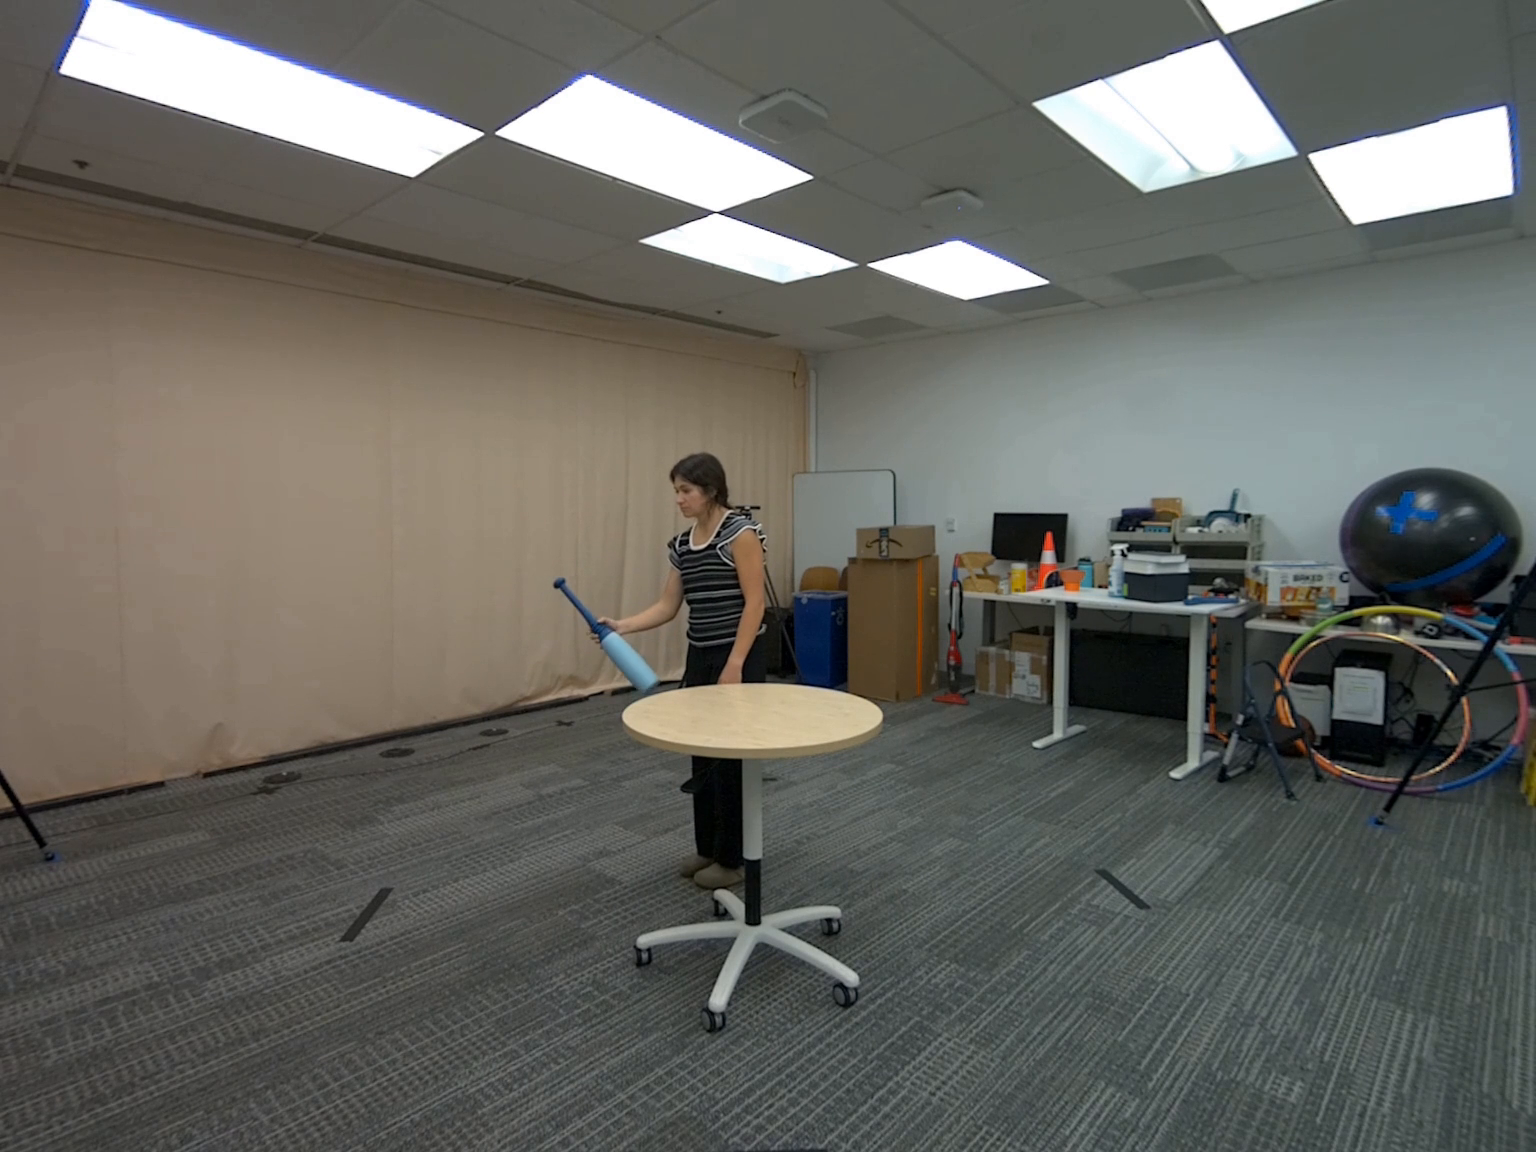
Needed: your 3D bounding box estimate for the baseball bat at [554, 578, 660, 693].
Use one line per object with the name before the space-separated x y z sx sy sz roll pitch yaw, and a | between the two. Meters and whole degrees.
baseball bat | -0.596 0.219 3.070 0.551 0.089 0.087 46 15 12
